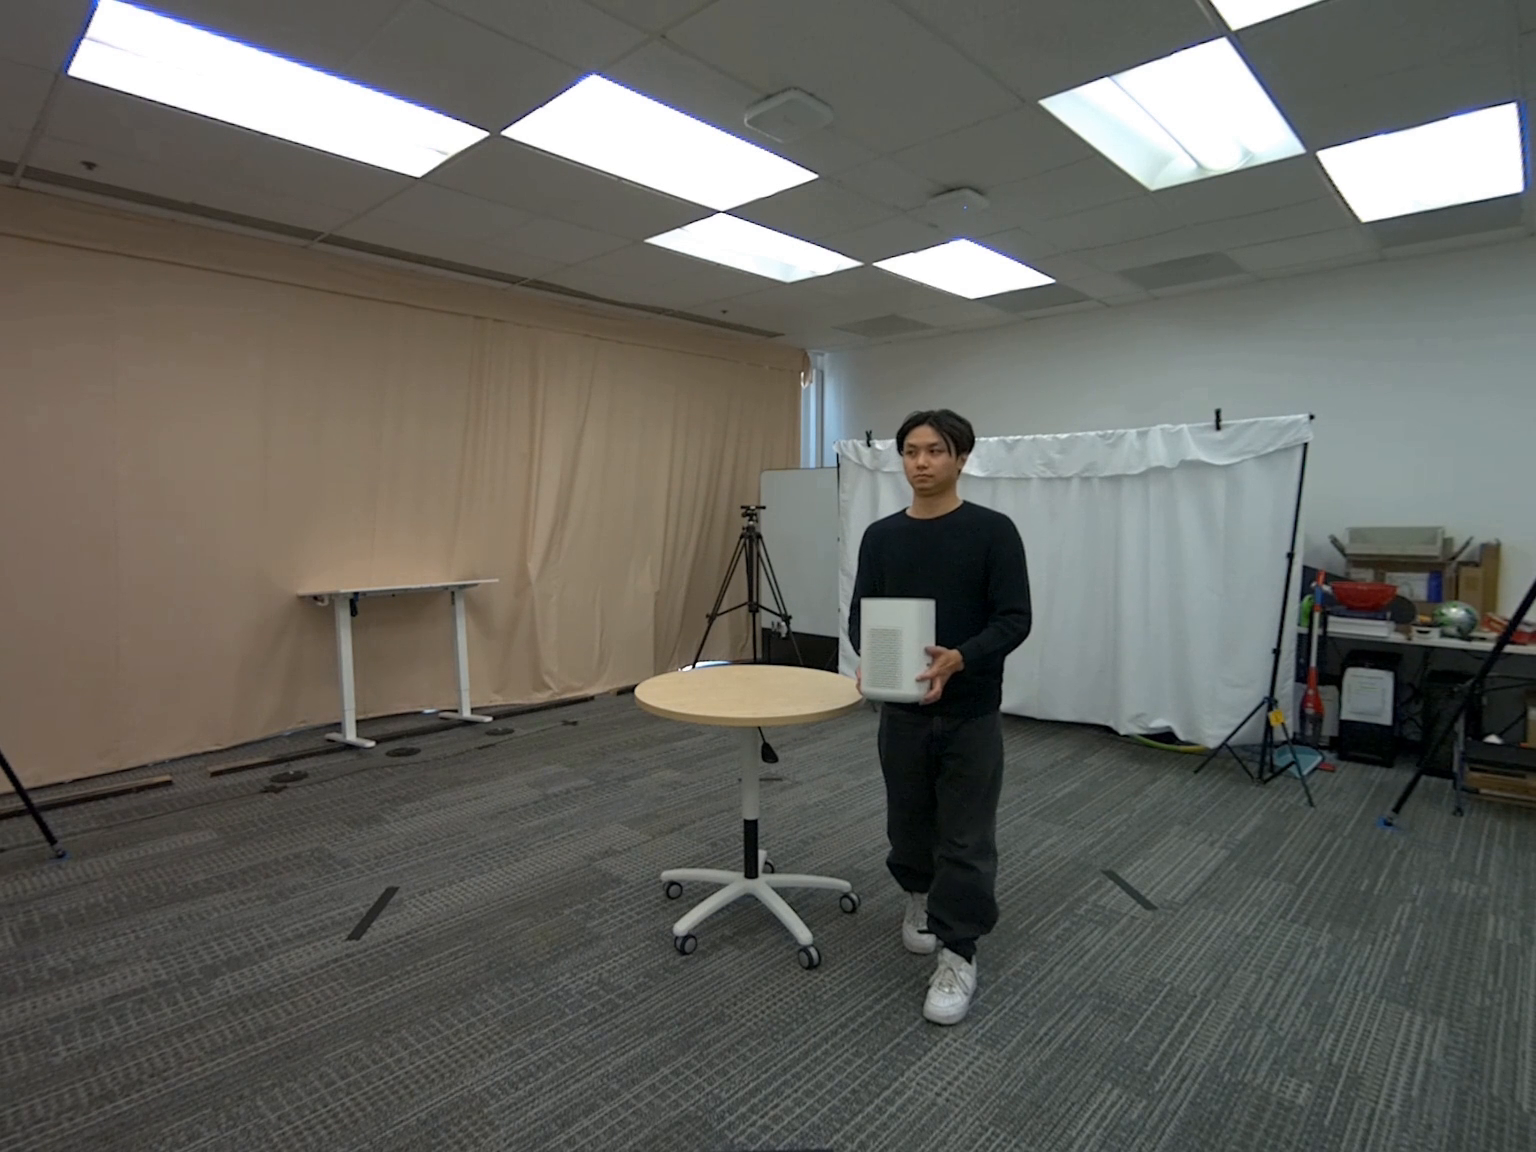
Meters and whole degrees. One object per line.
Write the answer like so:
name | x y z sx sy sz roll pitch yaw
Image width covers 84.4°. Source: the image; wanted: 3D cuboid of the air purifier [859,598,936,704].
air purifier | 0.348 0.192 2.227 0.176 0.266 0.166 0 -4 32
